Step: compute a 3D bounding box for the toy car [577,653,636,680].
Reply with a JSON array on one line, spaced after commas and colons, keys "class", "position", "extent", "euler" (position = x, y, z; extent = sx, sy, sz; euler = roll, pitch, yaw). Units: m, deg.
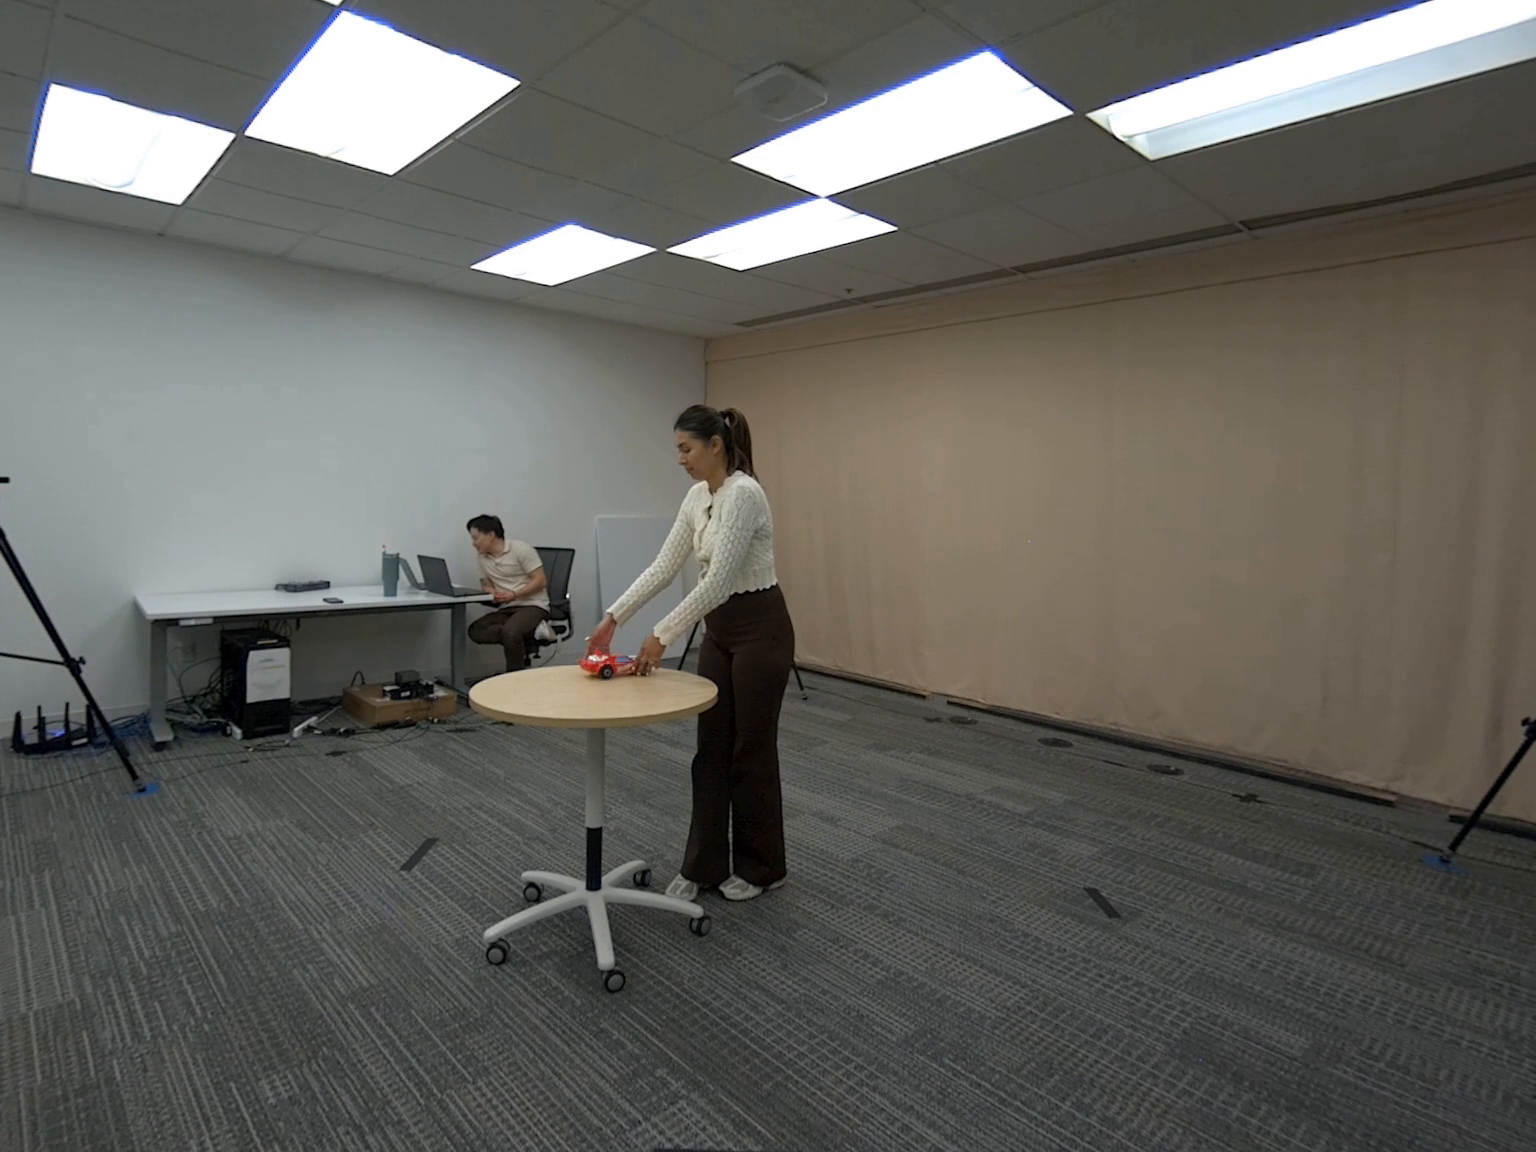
[{"class": "toy car", "position": [-0.524, 0.306, 2.836], "extent": [0.248, 0.083, 0.133], "euler": [11, -3, -33]}]
